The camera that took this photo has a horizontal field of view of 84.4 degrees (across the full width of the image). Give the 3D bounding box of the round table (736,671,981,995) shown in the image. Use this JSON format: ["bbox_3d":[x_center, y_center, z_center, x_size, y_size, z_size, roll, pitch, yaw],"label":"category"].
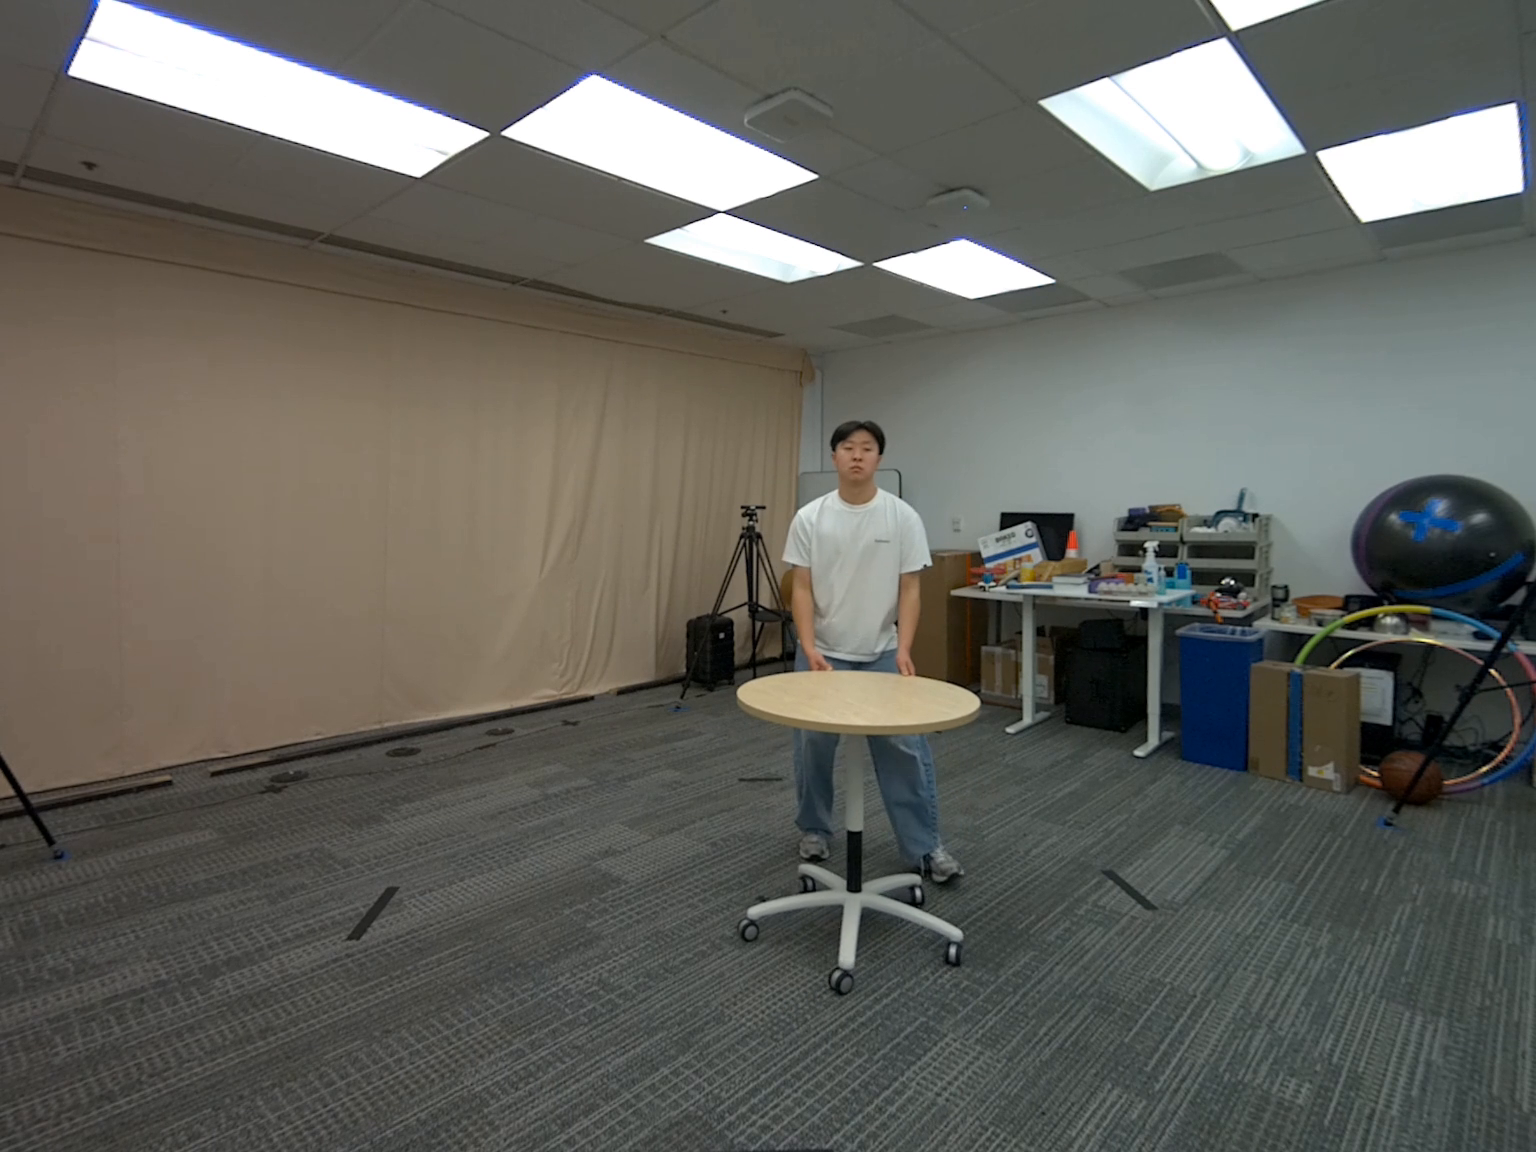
[{"bbox_3d":[0.281,0.775,2.718,0.763,0.792,0.767,0,4,-2],"label":"round table"}]
